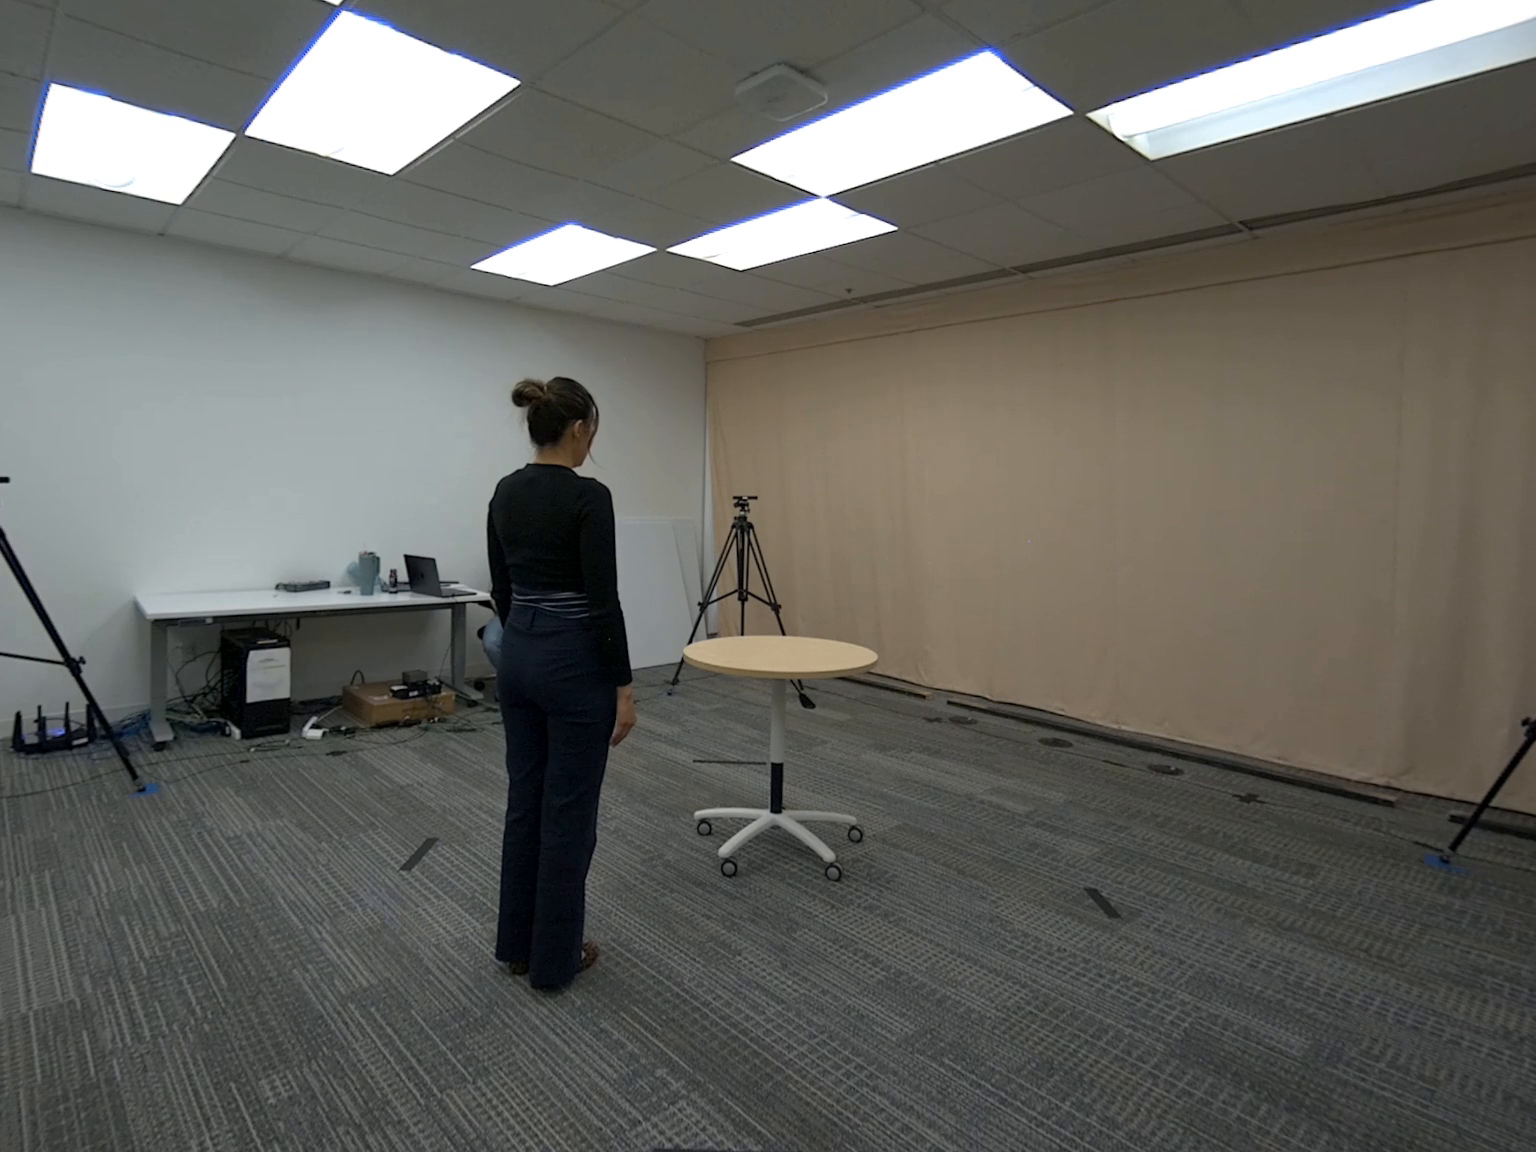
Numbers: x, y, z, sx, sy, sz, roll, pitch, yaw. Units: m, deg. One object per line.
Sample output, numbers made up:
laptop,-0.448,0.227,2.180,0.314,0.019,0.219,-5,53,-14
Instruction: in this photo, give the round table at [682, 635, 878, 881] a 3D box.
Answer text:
round table,0.030,0.696,3.346,0.763,0.792,0.766,1,4,-1
